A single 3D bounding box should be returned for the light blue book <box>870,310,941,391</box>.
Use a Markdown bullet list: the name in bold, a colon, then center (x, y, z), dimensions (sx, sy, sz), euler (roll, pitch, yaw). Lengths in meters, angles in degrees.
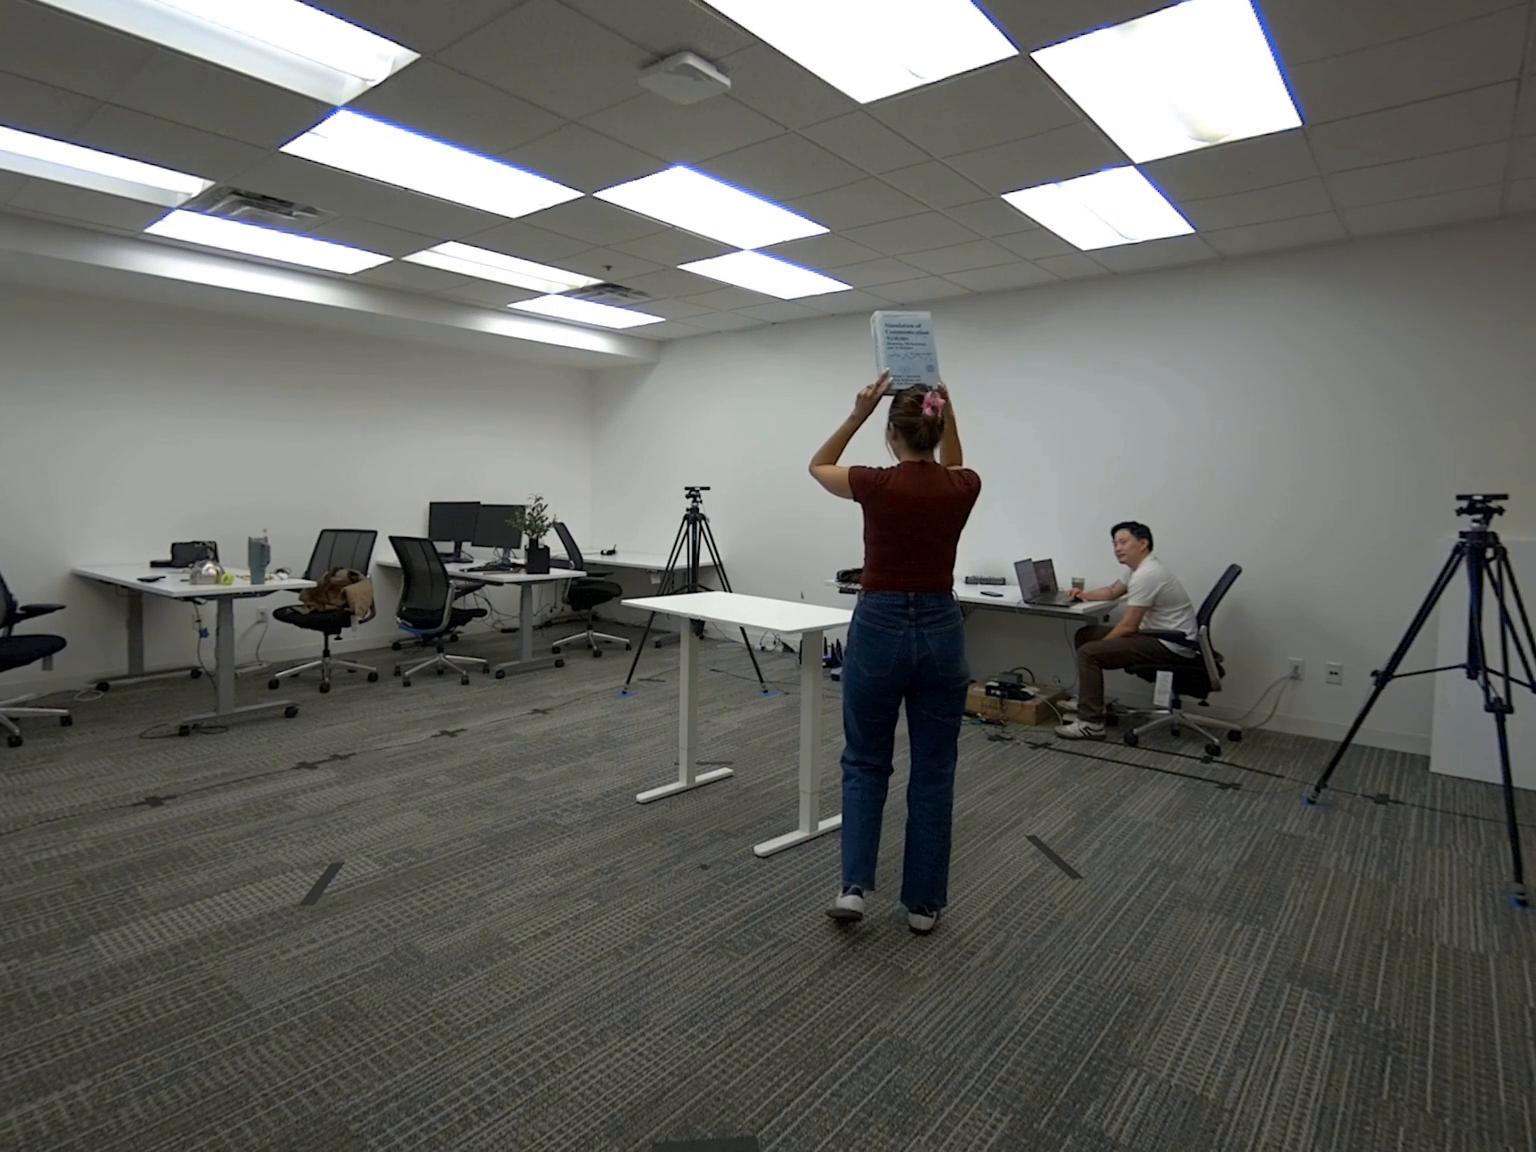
- **light blue book**: center (0.428, -0.702, 2.687), dimensions (0.189, 0.264, 0.059), euler (-3, -10, -13)
